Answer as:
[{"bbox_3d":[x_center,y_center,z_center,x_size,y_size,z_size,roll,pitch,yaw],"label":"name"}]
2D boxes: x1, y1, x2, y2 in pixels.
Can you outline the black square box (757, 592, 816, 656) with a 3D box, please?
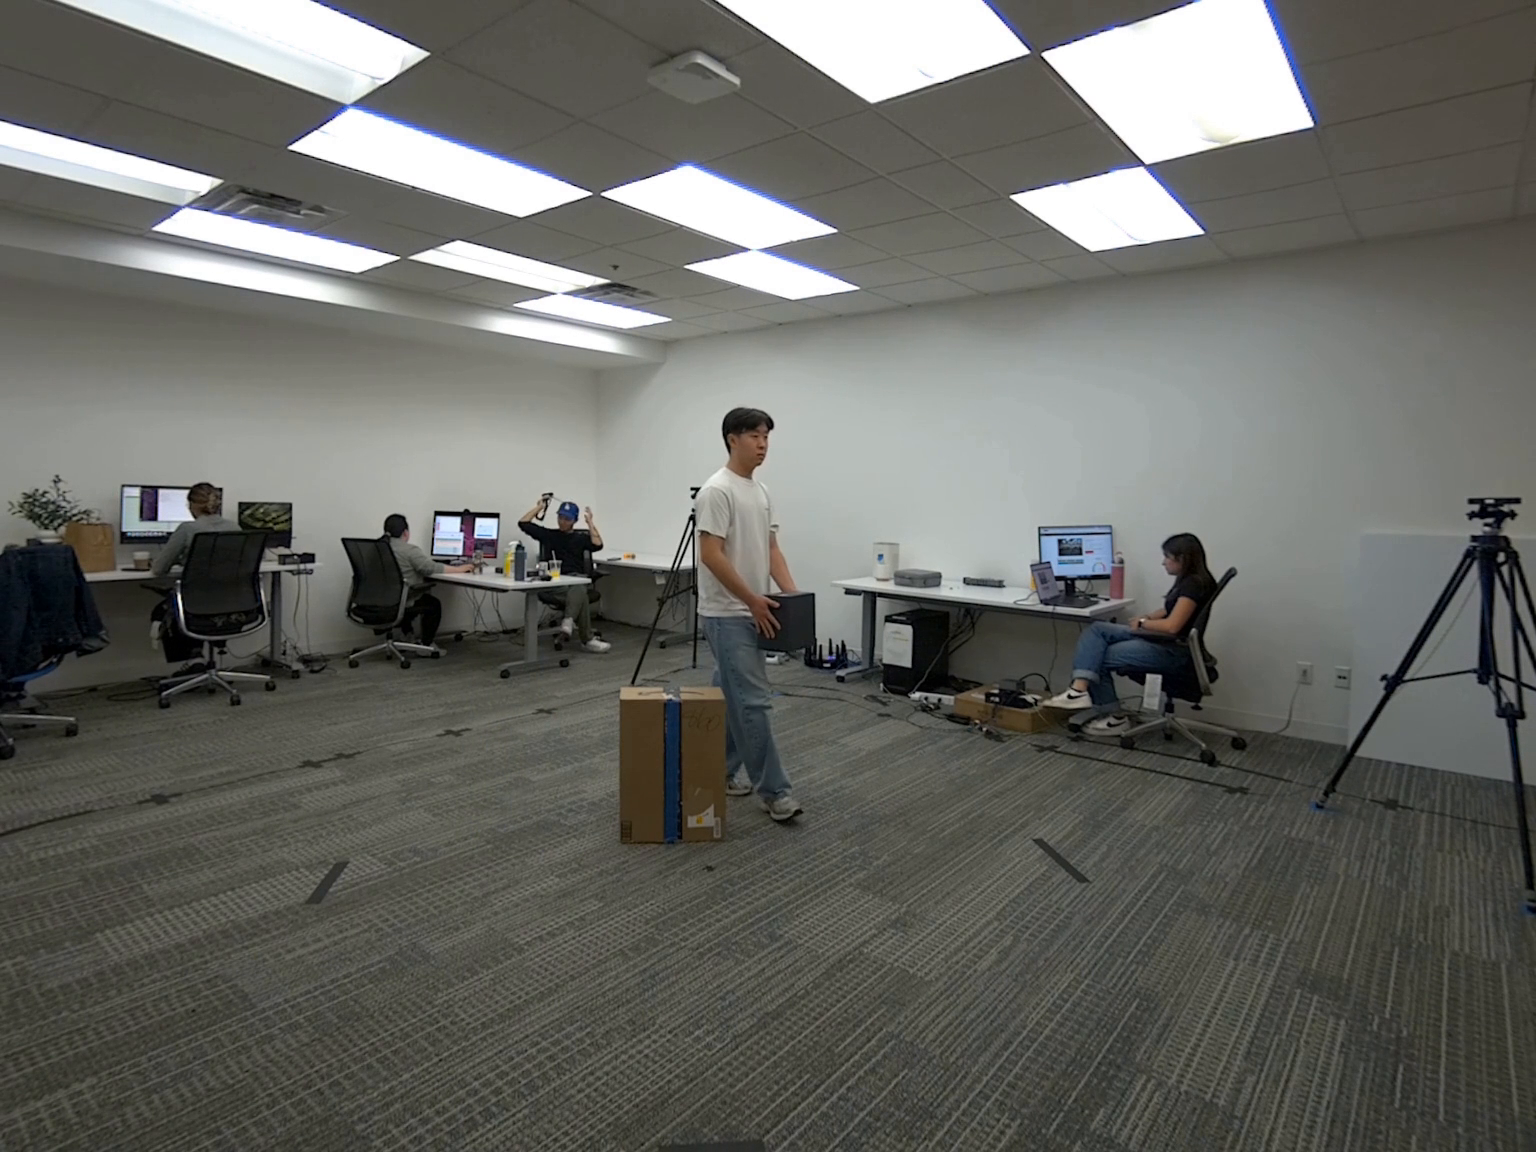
[{"bbox_3d":[0.076,0.185,3.599,0.161,0.227,0.211,2,4,36],"label":"black square box"}]
